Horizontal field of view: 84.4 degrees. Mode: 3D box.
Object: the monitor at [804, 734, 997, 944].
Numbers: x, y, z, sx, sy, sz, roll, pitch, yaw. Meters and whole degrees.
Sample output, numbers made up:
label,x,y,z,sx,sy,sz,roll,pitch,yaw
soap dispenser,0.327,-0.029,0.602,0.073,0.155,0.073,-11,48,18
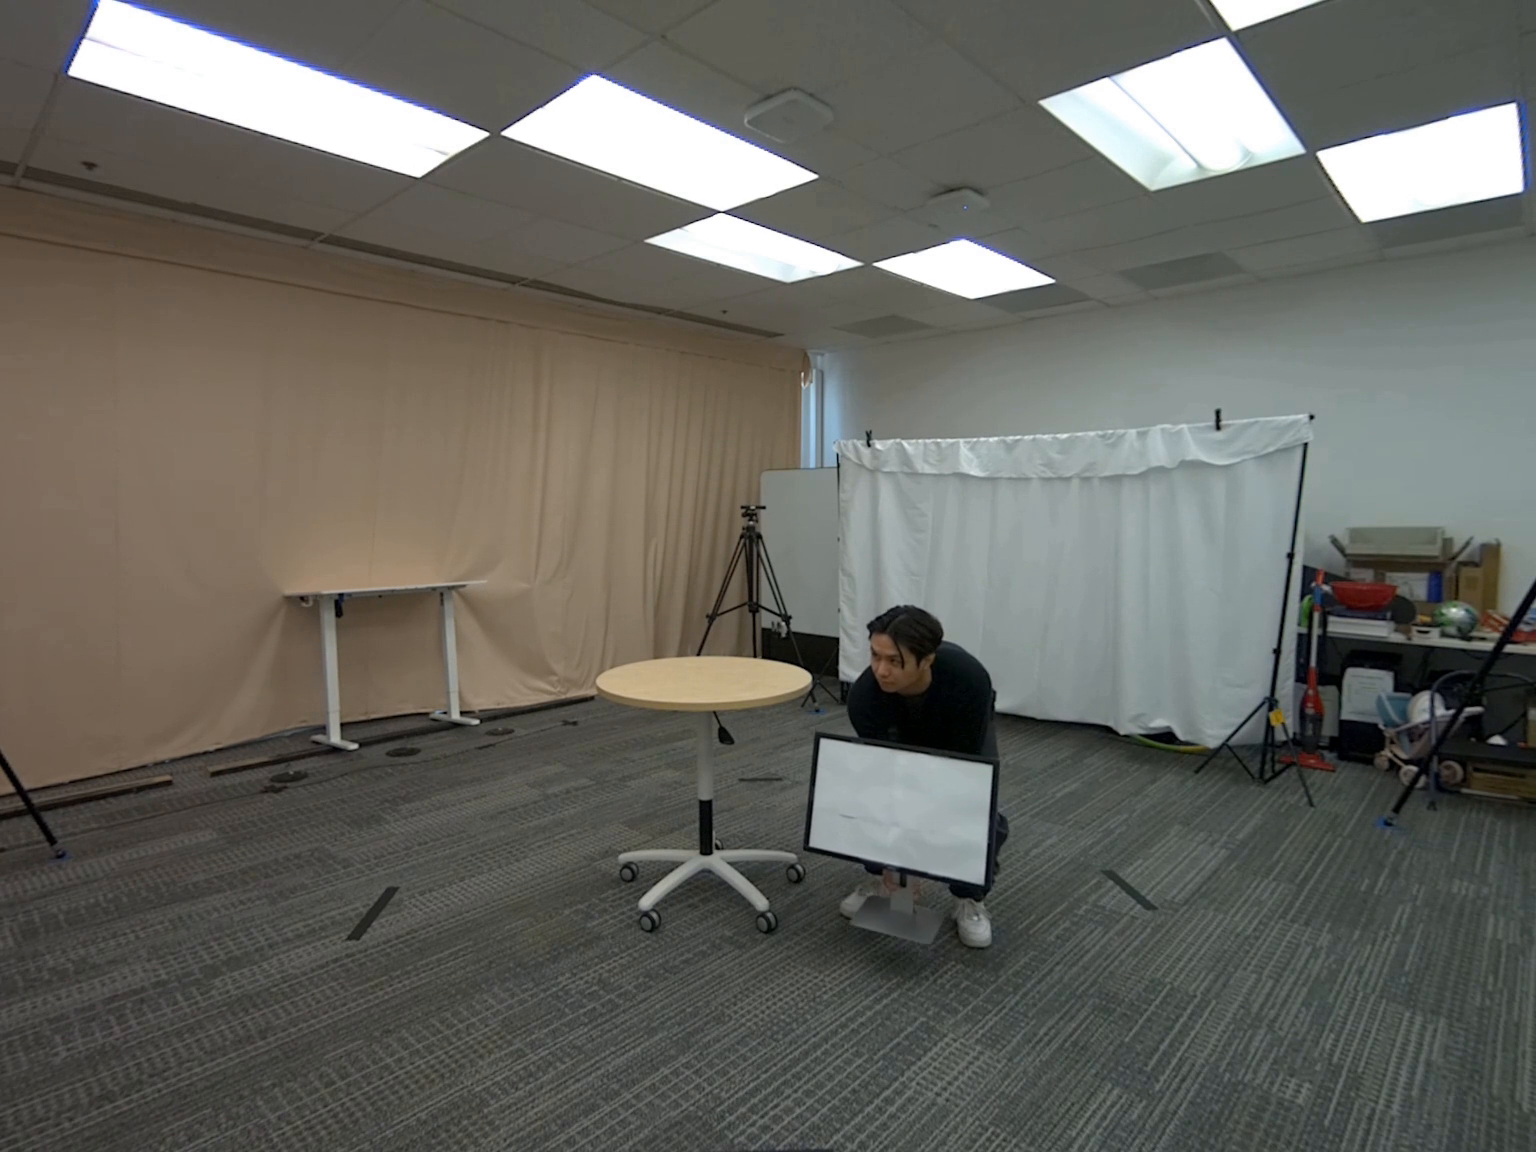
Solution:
label,x,y,z,sx,sy,sz,roll,pitch,yaw
monitor,0.404,0.779,2.535,0.553,0.521,0.182,2,4,27
